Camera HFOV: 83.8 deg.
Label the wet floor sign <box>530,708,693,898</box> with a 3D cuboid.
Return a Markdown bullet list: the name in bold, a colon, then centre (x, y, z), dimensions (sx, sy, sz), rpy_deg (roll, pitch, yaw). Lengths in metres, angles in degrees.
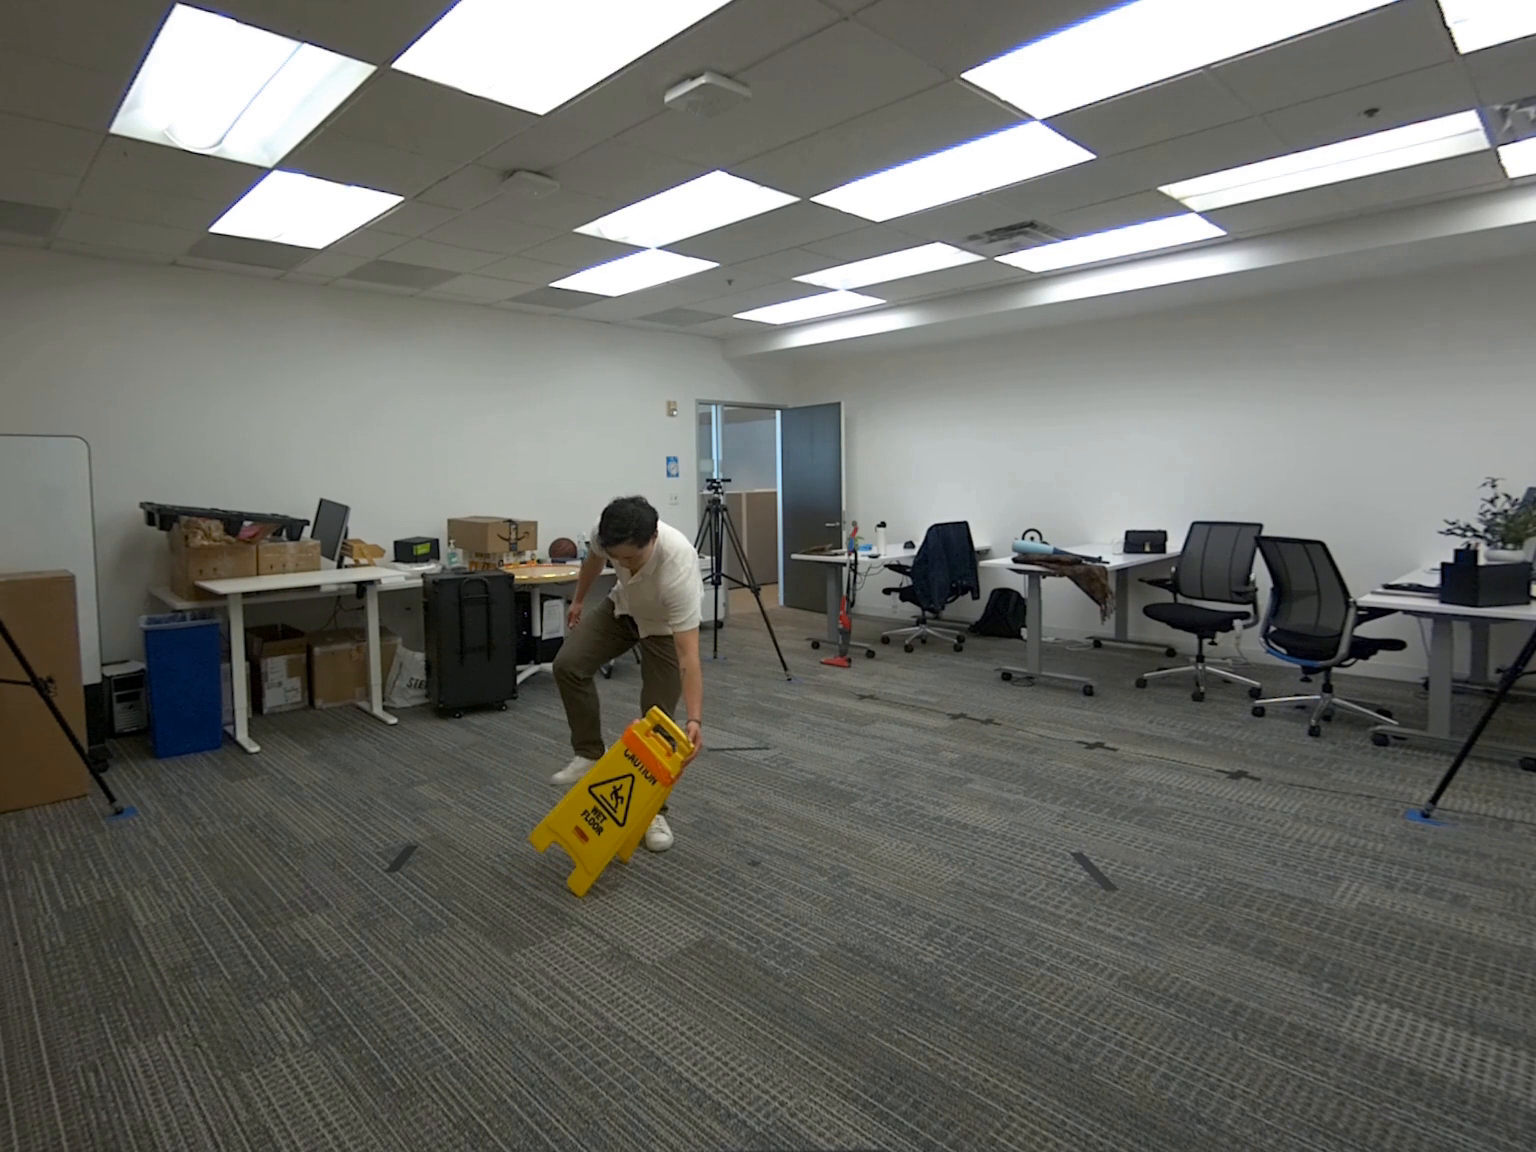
- **wet floor sign**: centre (-0.496, 0.740, 2.946), dimensions (0.288, 0.644, 0.285), rpy_deg (41, 20, 14)
